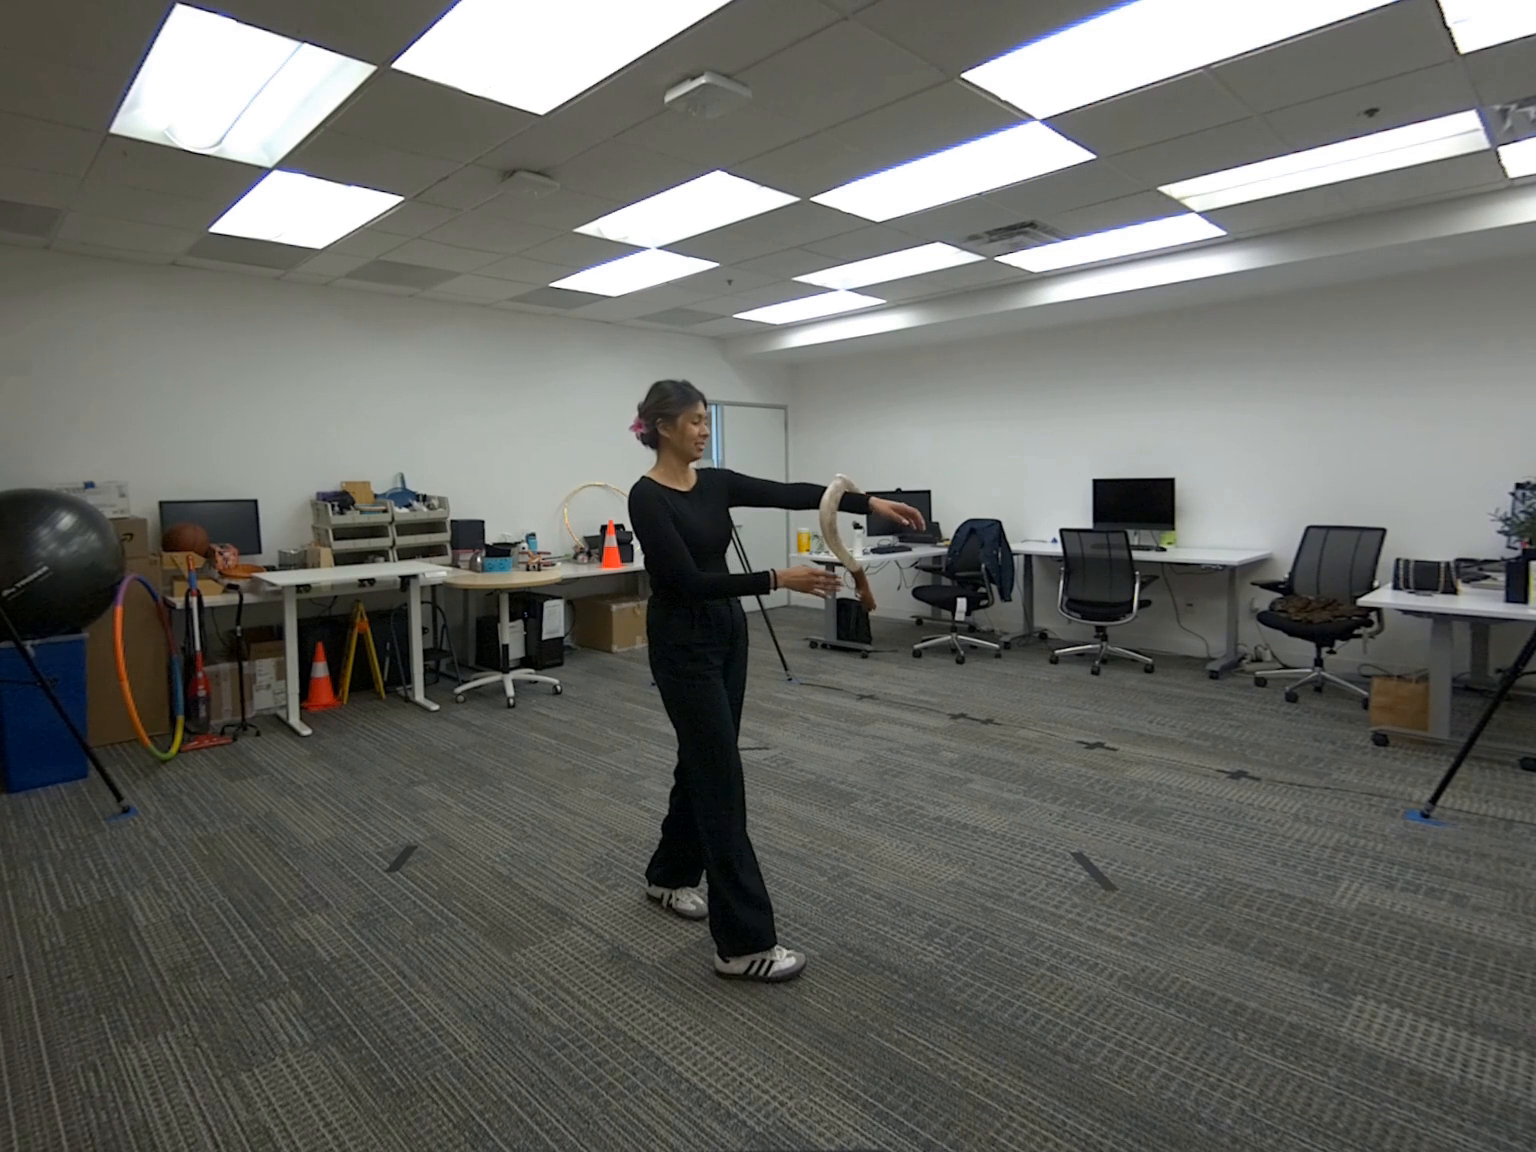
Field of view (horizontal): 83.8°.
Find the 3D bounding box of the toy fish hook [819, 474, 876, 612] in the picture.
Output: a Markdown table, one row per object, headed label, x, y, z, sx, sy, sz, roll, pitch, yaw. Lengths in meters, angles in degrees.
| label | x | y | z | sx | sy | sz | roll | pitch | yaw |
| --- | --- | --- | --- | --- | --- | --- | --- | --- | --- |
| toy fish hook | 0.256 | -0.090 | 2.579 | 0.050 | 0.488 | 0.225 | 13 | 55 | 36 |
